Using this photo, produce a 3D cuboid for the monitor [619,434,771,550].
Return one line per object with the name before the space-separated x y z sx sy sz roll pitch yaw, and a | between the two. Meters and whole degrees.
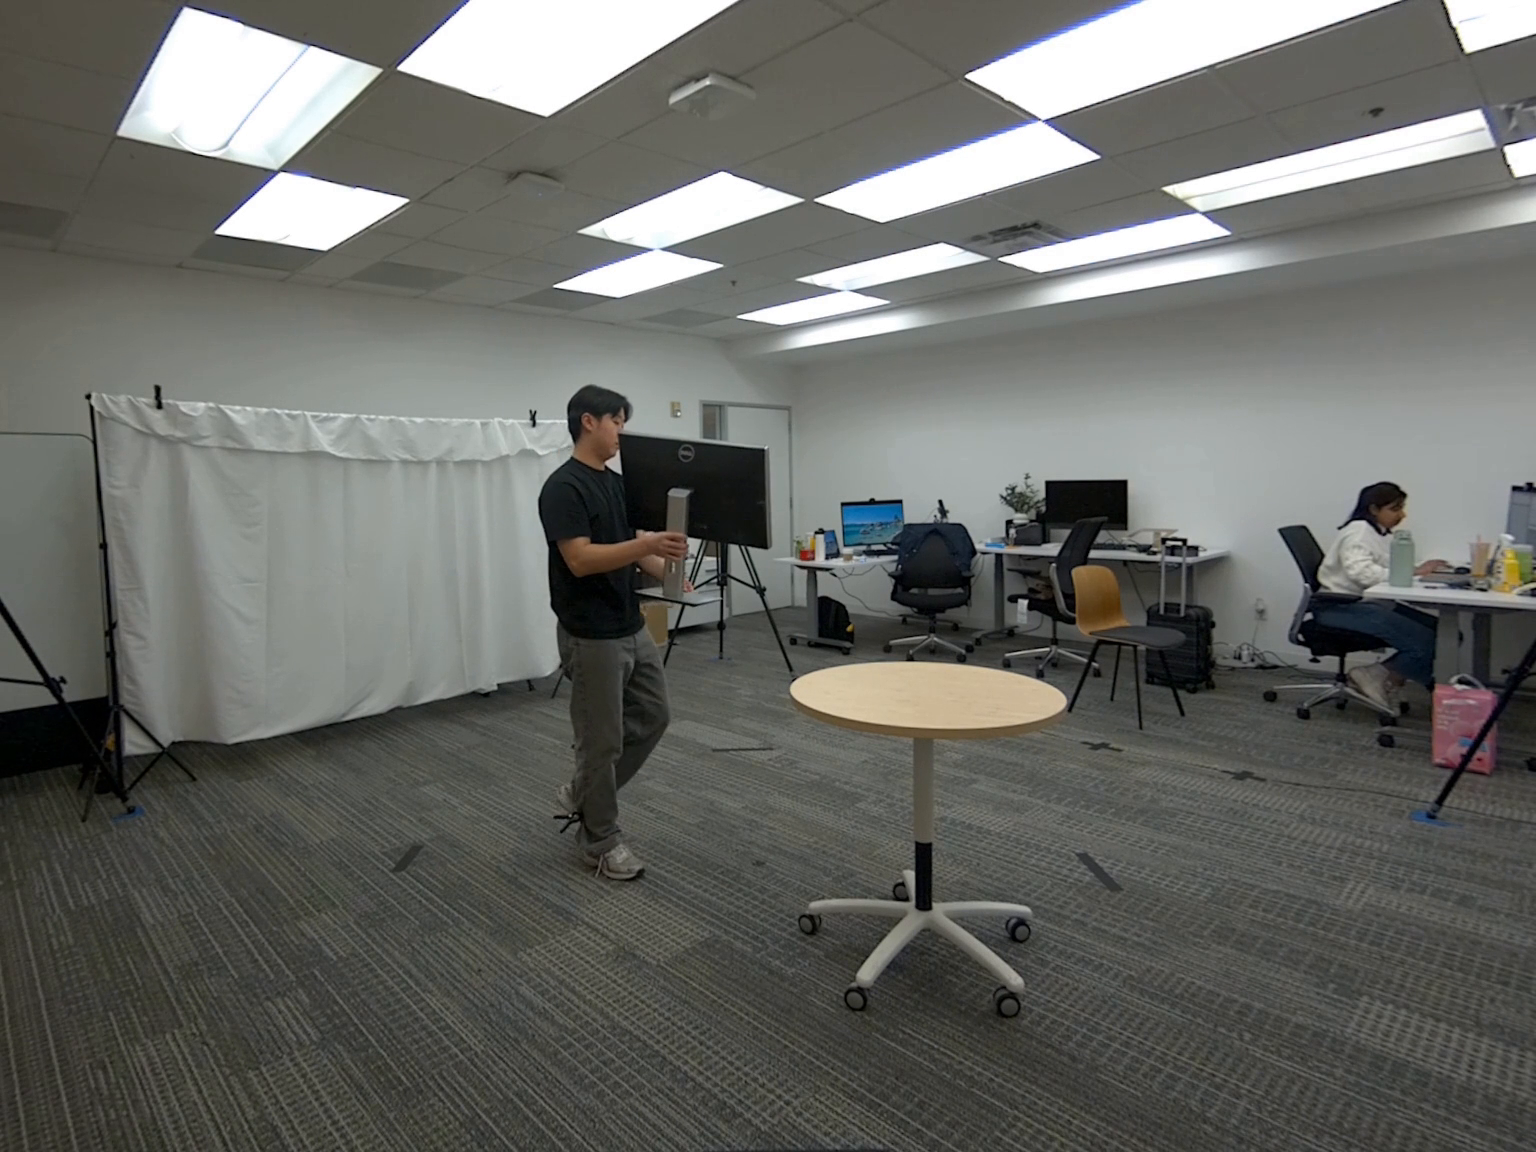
monitor | -0.278 -0.189 2.907 0.577 0.562 0.218 11 10 27
